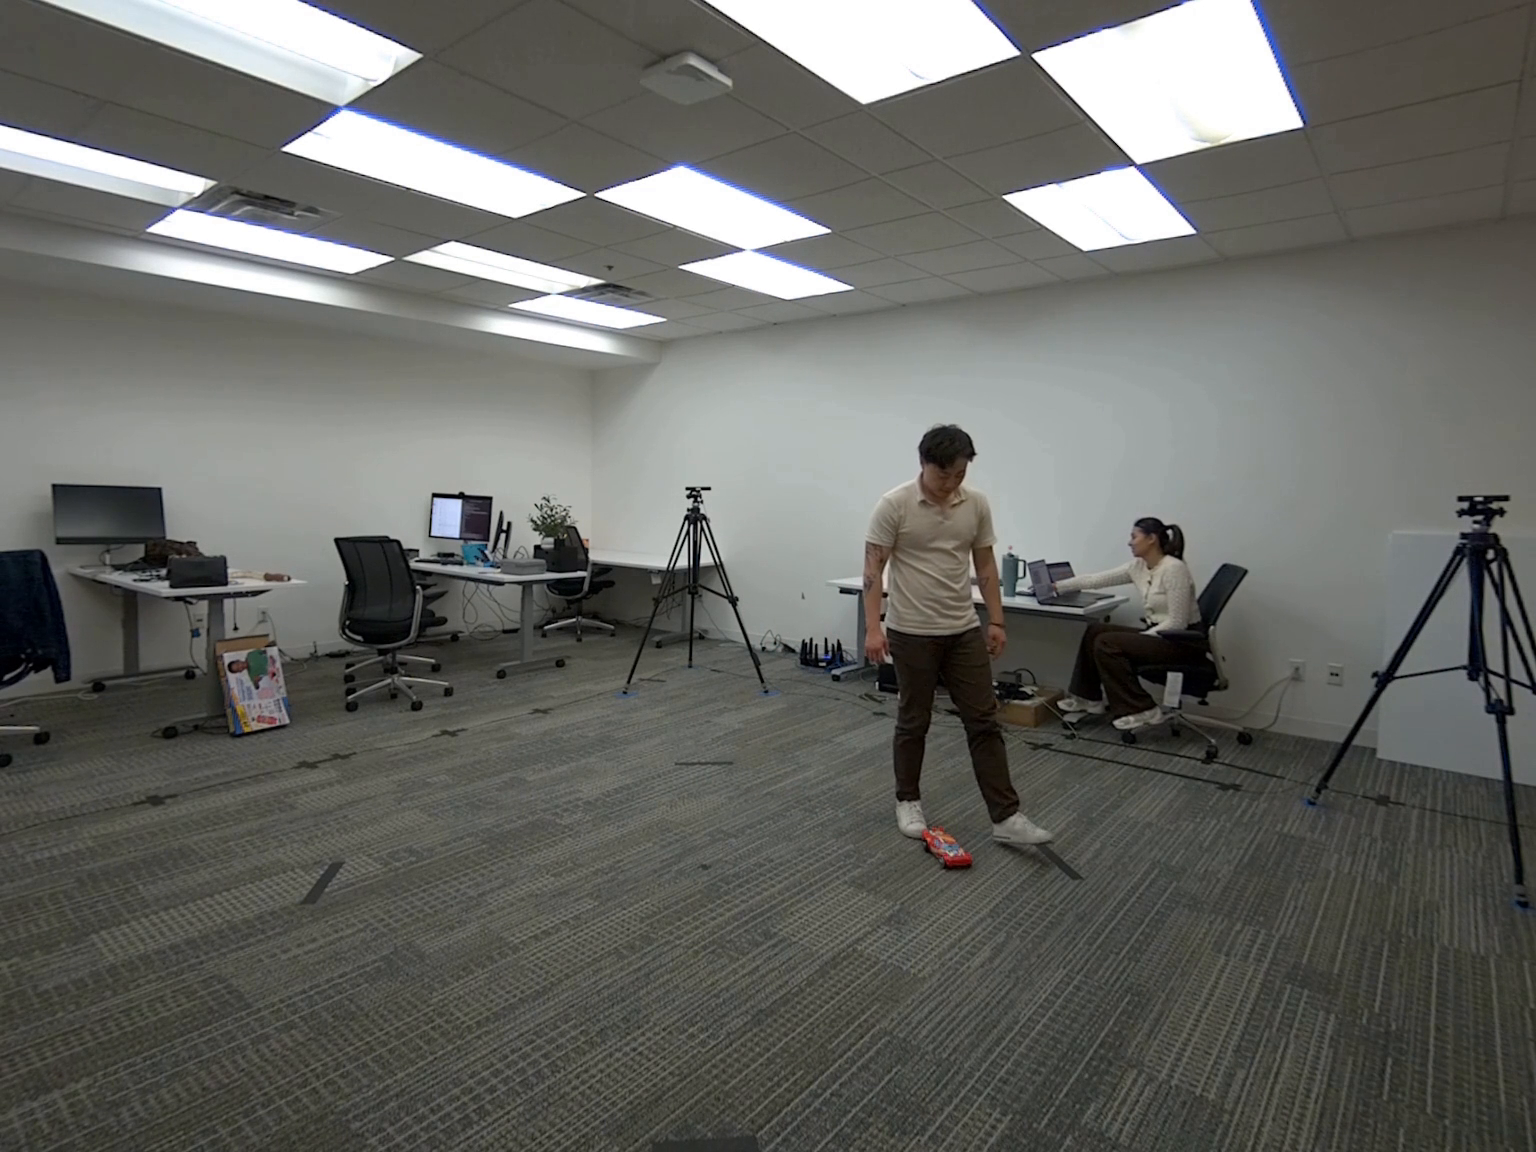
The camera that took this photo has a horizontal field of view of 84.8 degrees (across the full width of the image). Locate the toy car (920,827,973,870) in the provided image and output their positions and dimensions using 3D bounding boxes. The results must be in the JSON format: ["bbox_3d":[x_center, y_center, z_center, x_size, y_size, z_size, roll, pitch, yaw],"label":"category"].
[{"bbox_3d":[0.672,1.036,3.260,0.129,0.082,0.261,-2,16,-13],"label":"toy car"}]
